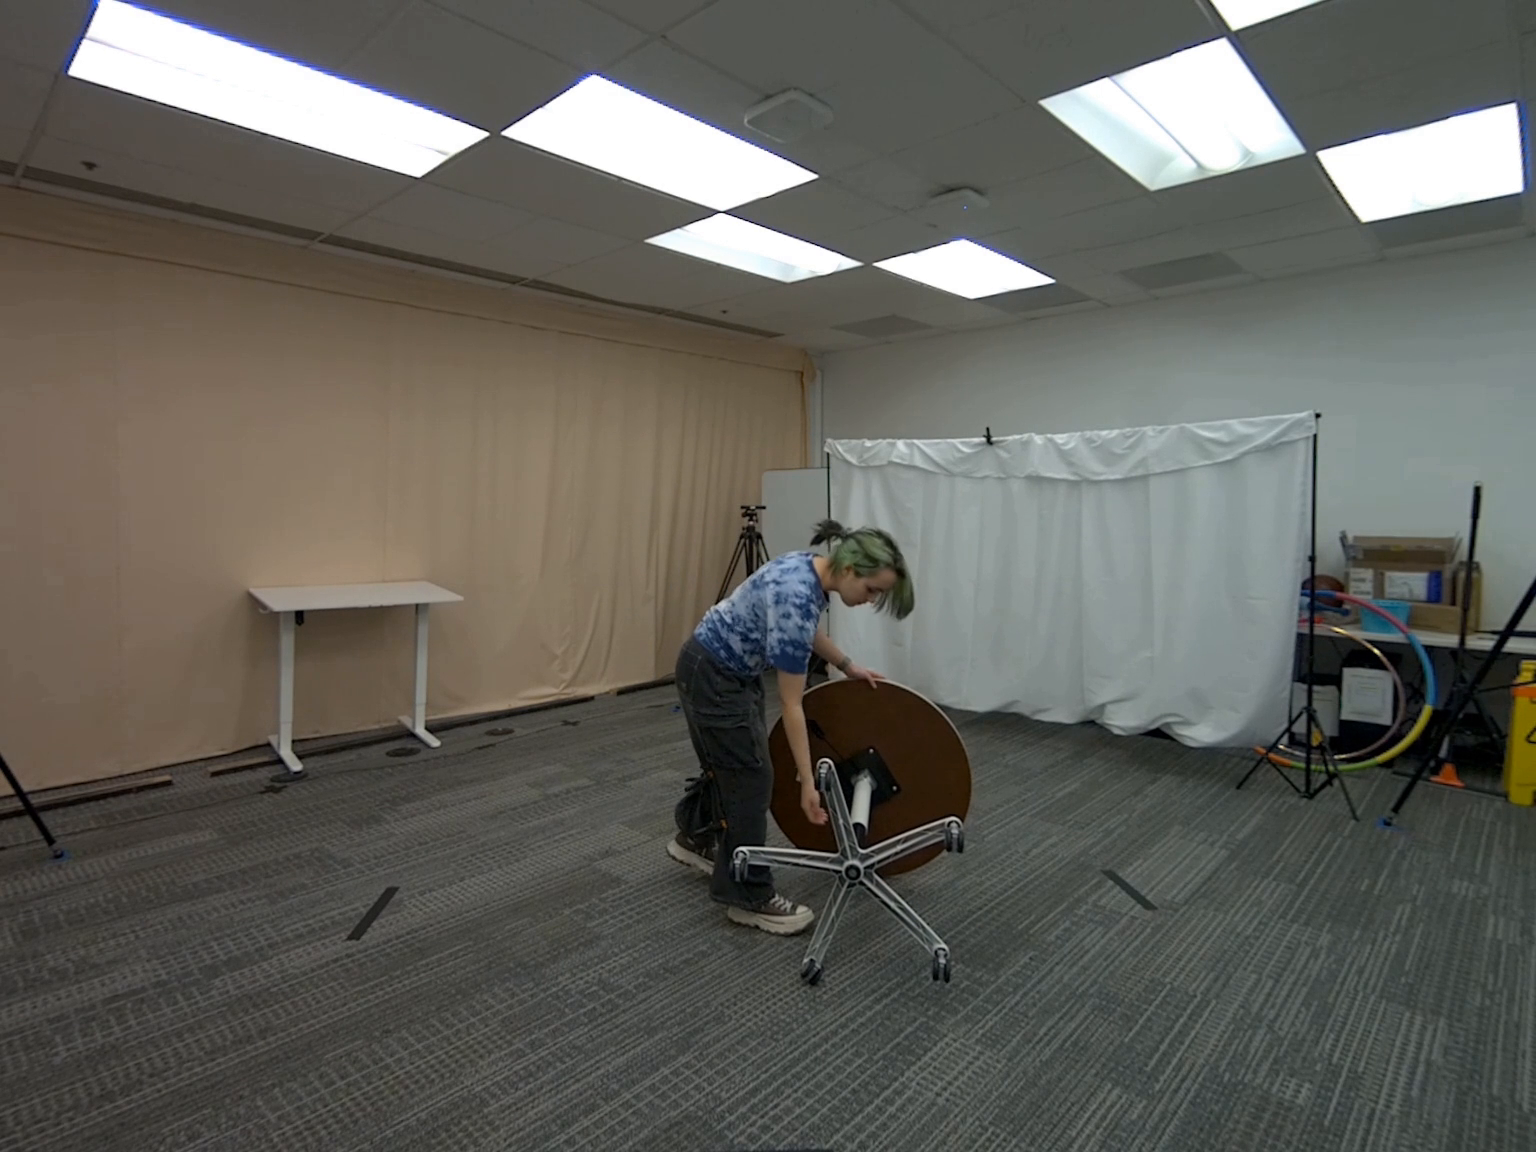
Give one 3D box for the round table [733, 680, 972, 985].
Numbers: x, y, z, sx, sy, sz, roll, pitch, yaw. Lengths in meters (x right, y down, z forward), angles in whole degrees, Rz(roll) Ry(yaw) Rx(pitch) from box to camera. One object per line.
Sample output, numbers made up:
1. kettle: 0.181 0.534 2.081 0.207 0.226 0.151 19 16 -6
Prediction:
1. round table: 0.301 0.817 2.742 0.774 0.760 0.788 1 9 11
